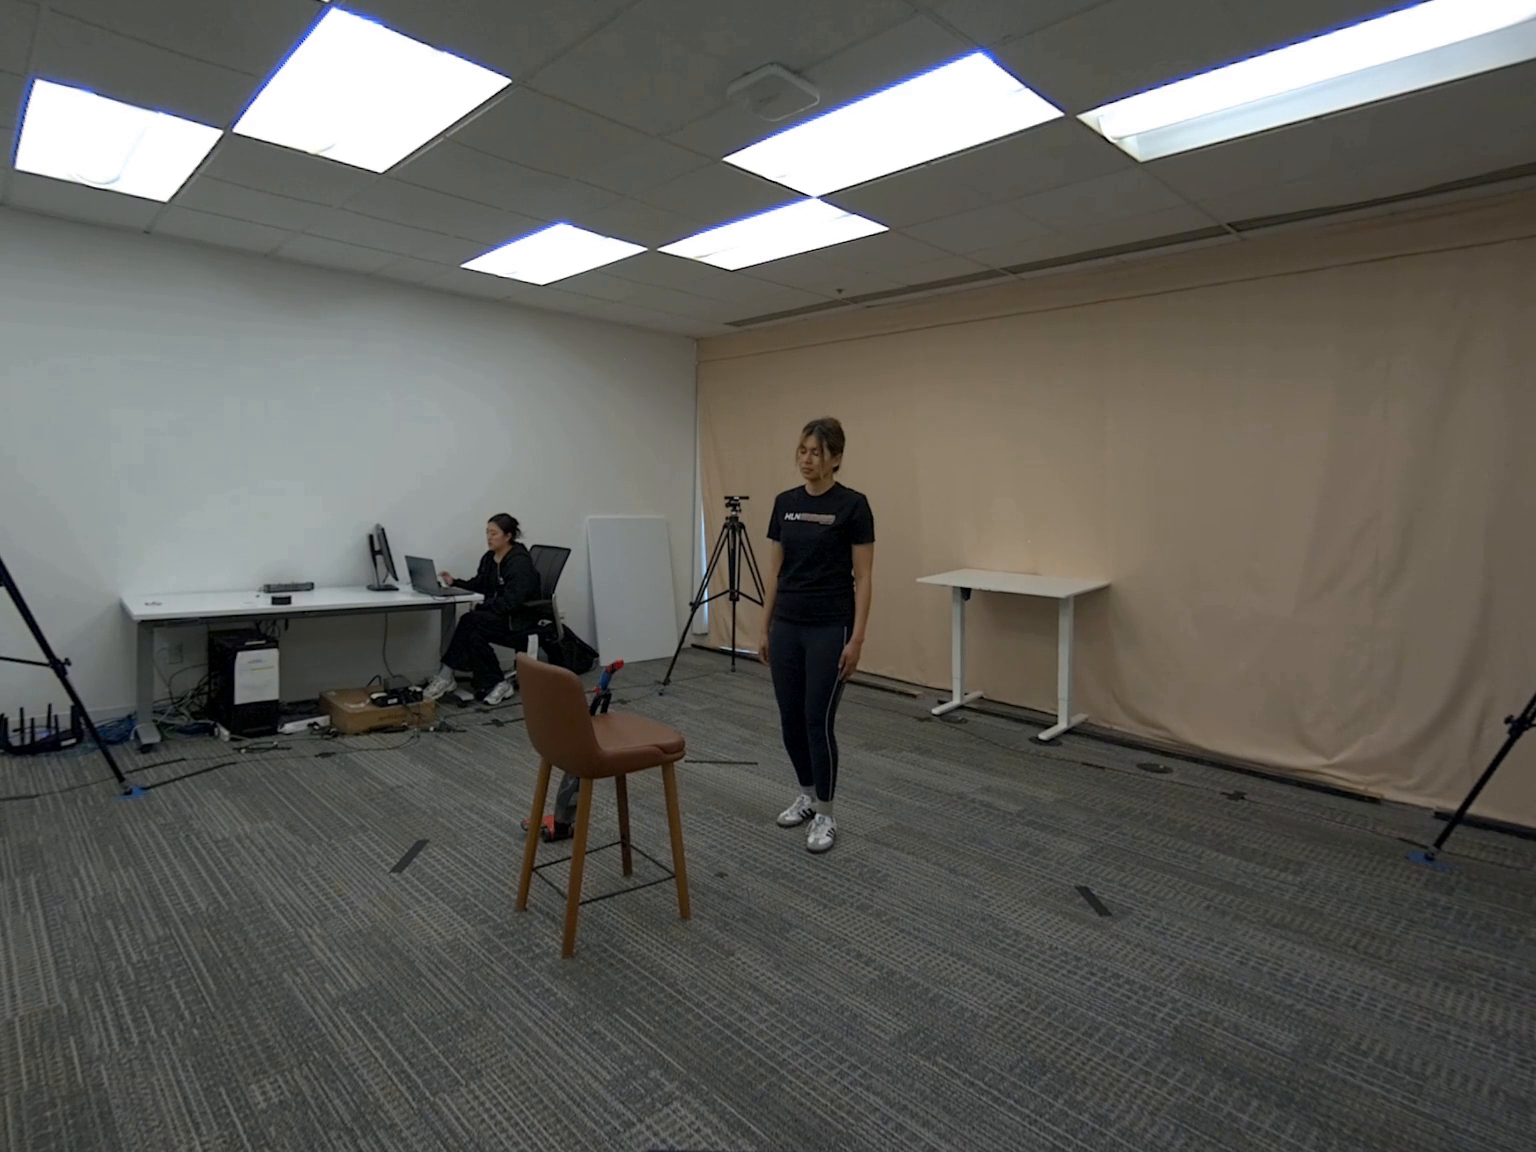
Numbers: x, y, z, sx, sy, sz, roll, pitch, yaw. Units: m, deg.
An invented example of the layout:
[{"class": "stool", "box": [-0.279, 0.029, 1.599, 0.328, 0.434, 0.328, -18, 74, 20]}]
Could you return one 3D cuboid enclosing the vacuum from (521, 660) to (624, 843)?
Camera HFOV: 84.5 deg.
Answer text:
[{"class": "vacuum", "box": [-0.698, 0.668, 3.142, 0.247, 1.040, 0.148, -6, 48, -37]}]
